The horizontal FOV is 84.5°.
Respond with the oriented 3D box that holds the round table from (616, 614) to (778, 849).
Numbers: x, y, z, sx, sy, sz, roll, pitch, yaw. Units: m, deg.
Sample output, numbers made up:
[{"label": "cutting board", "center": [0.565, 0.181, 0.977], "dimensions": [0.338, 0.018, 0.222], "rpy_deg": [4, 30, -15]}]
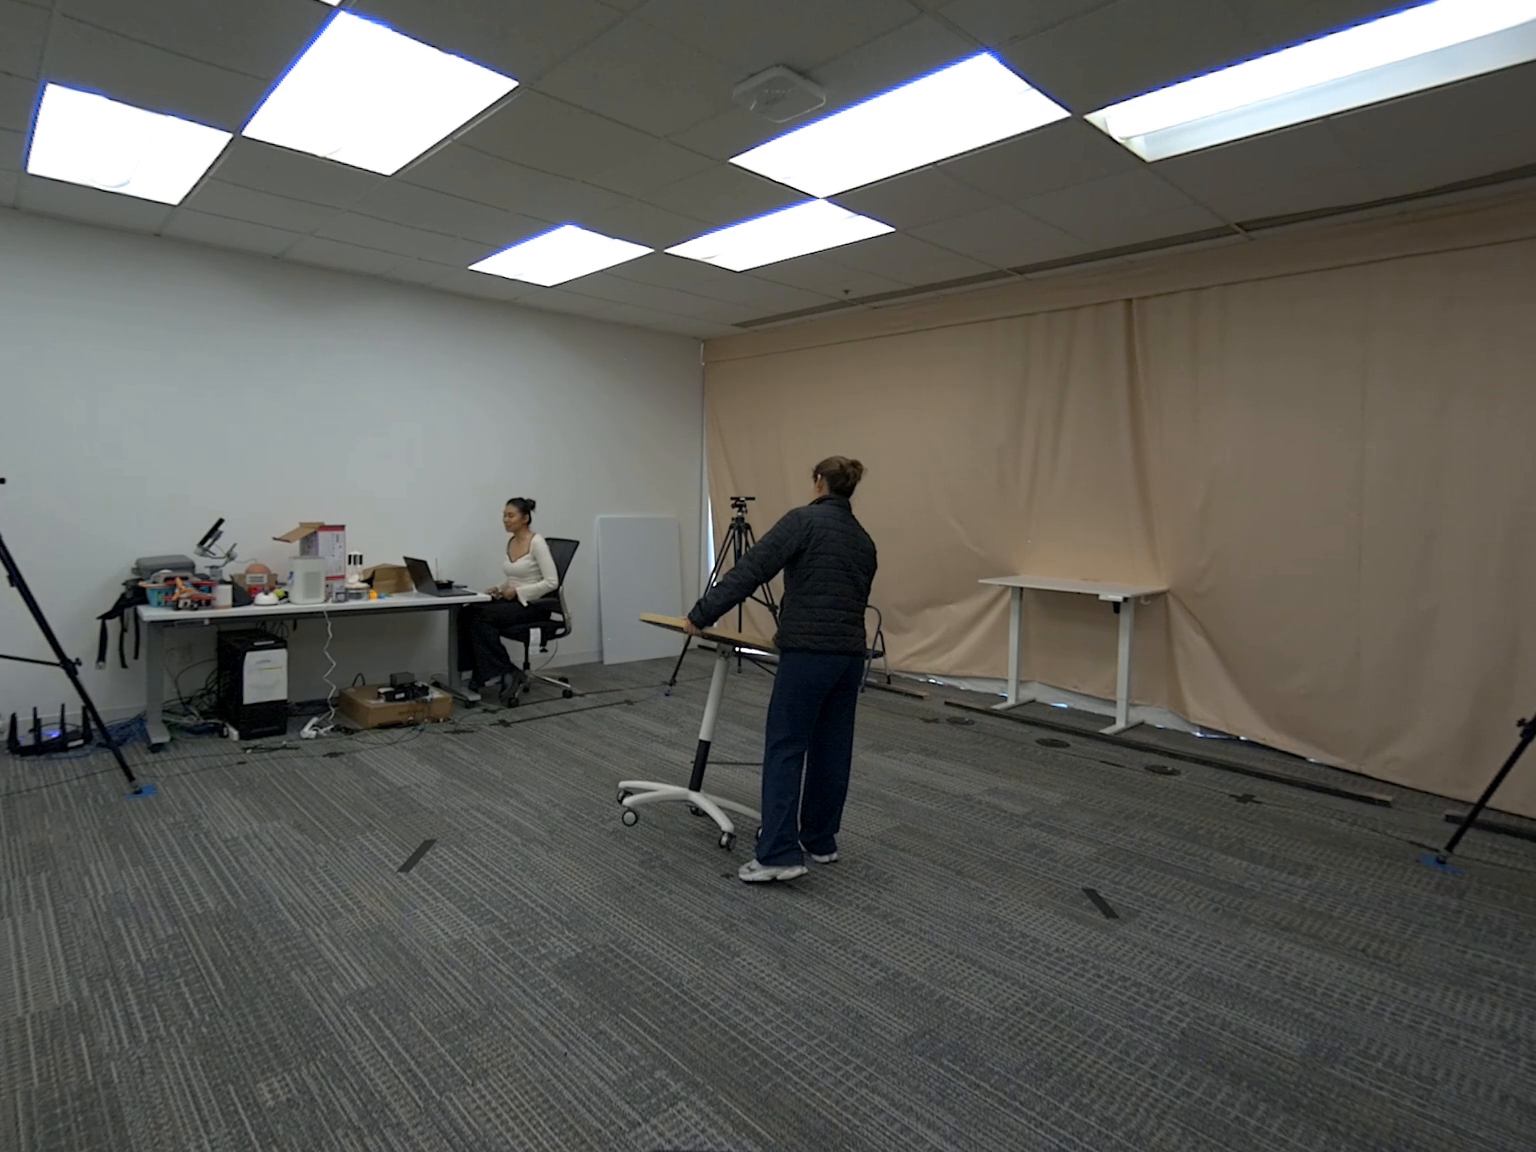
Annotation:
[{"label": "round table", "center": [-0.243, 0.628, 3.445], "dimensions": [0.786, 0.790, 0.781], "rpy_deg": [12, -7, 0]}]
